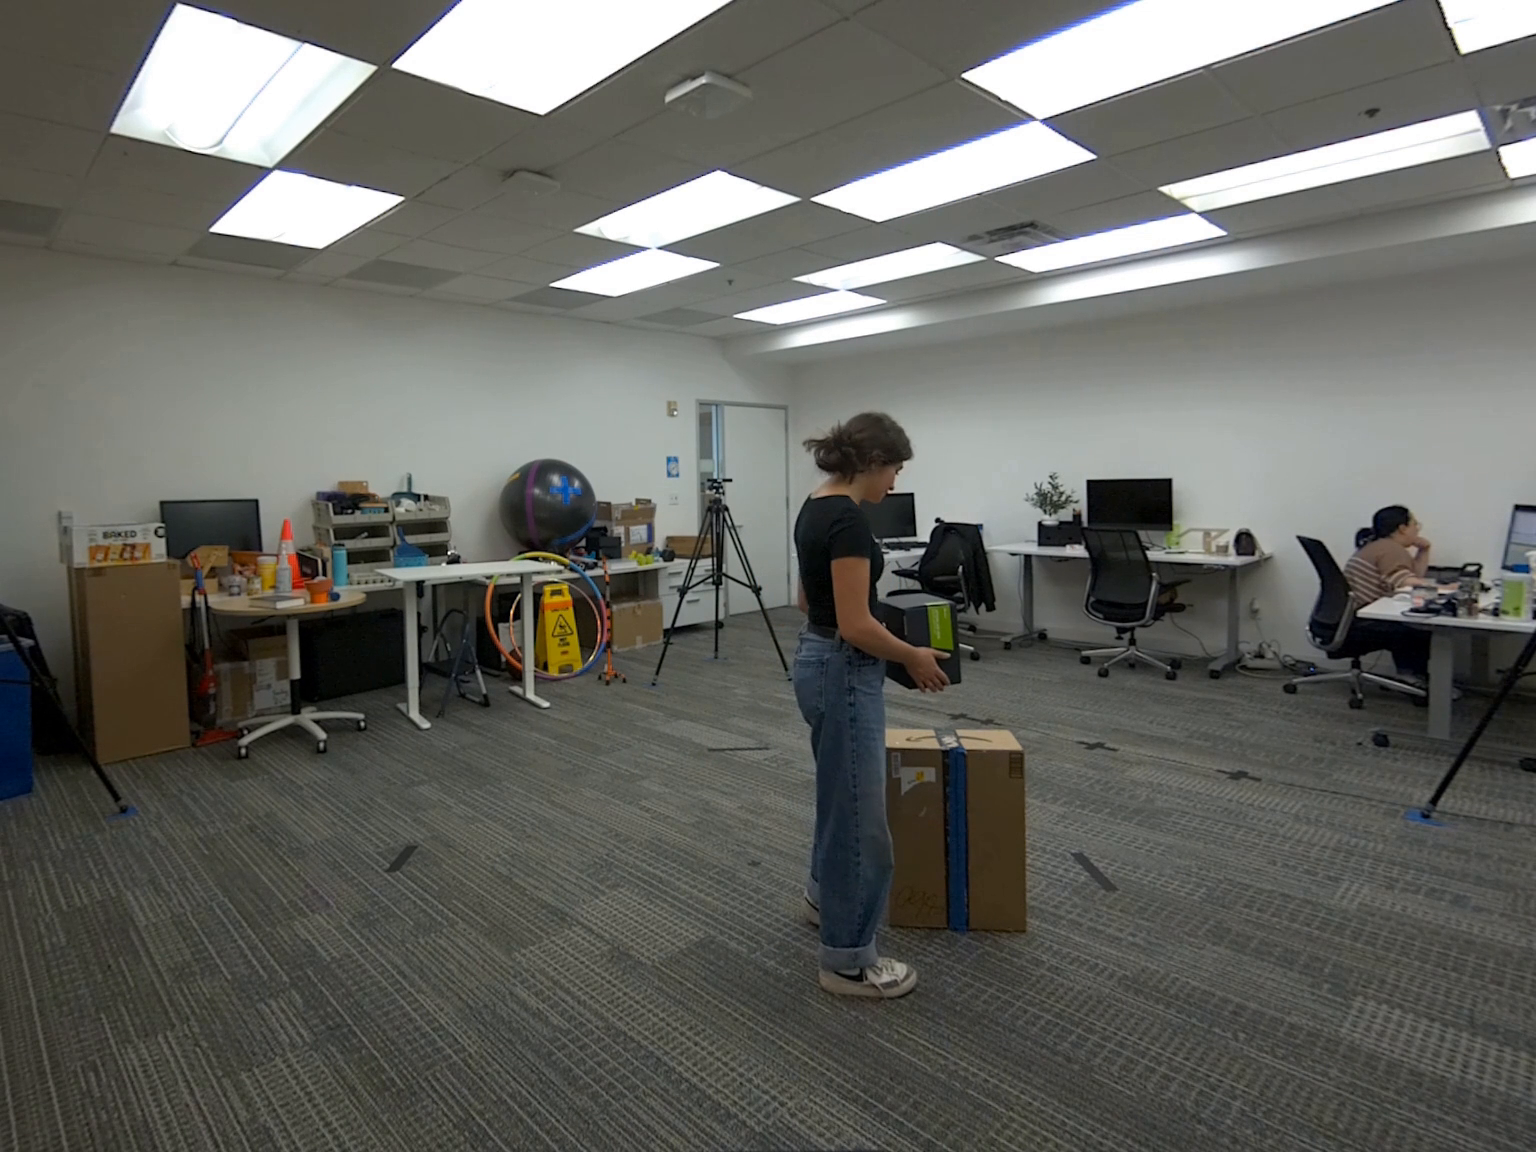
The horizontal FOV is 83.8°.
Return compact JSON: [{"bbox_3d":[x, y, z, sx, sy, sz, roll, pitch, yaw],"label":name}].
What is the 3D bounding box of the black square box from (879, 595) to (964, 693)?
[{"bbox_3d":[0.428,0.184,2.425,0.155,0.227,0.219,-3,4,-10],"label":"black square box"}]
